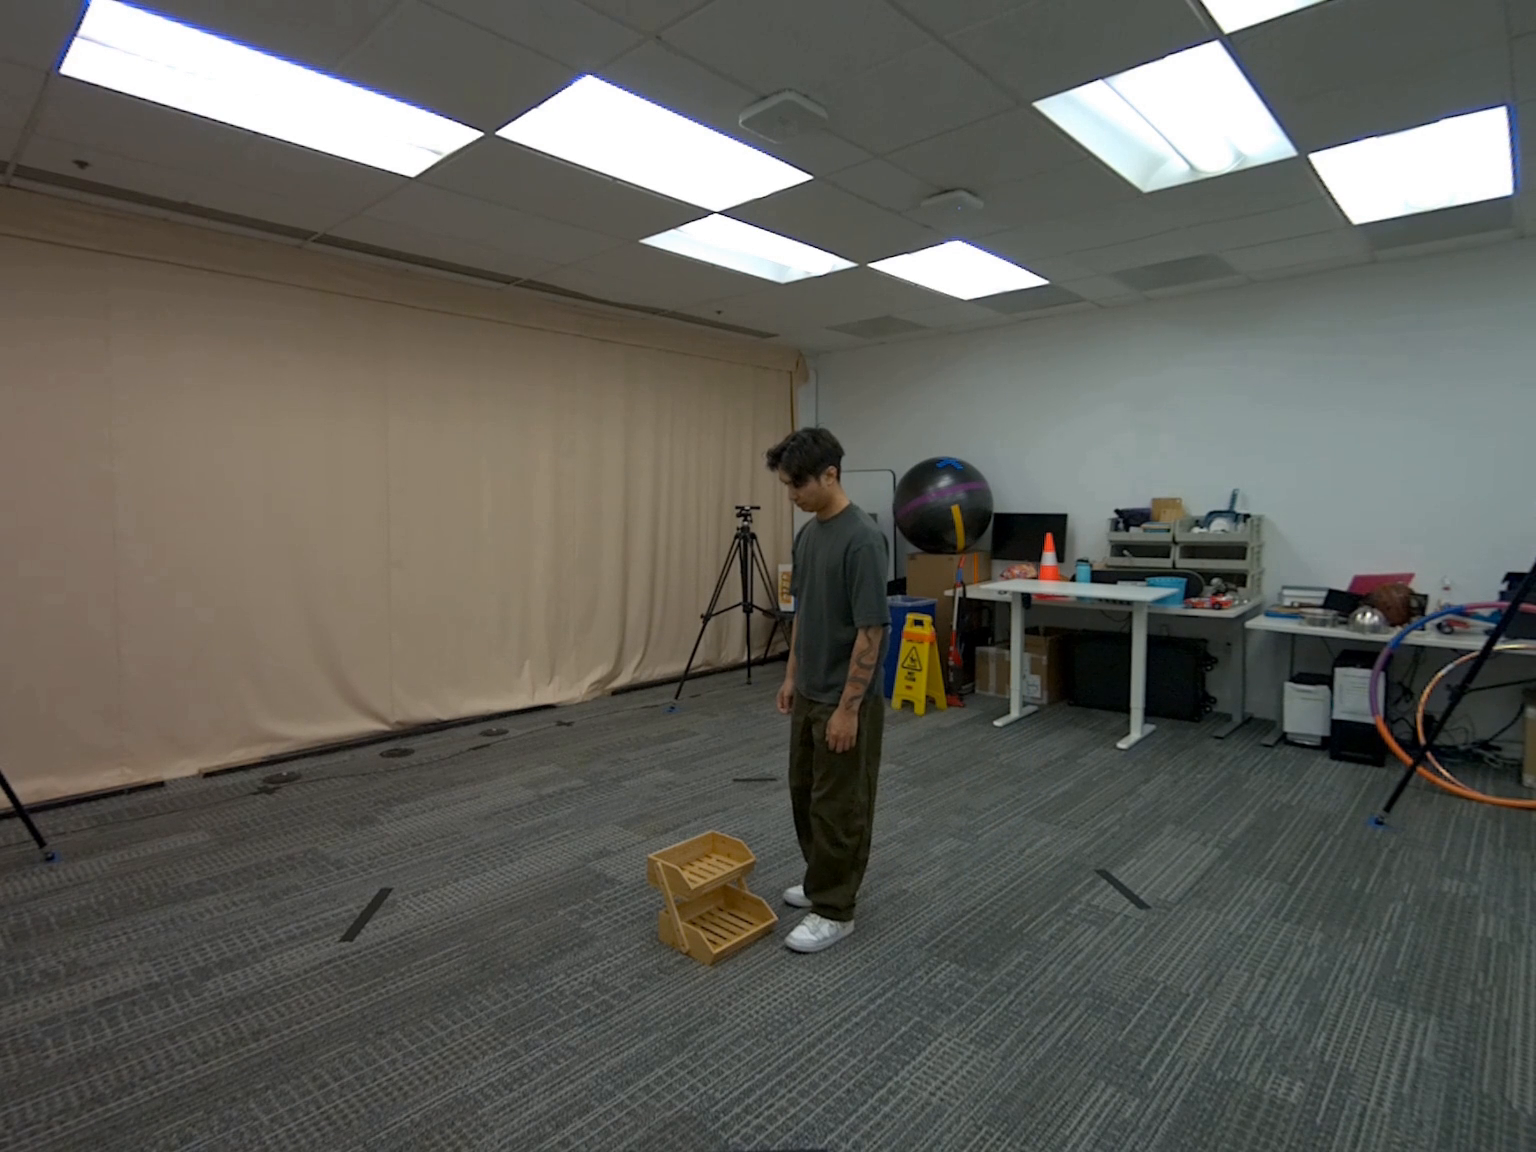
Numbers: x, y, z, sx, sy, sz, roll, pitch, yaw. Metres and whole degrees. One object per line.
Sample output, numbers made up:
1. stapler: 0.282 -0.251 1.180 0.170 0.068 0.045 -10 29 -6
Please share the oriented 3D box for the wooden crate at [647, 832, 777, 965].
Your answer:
1. wooden crate: -0.173 1.035 2.736 0.312 0.273 0.314 3 5 43
